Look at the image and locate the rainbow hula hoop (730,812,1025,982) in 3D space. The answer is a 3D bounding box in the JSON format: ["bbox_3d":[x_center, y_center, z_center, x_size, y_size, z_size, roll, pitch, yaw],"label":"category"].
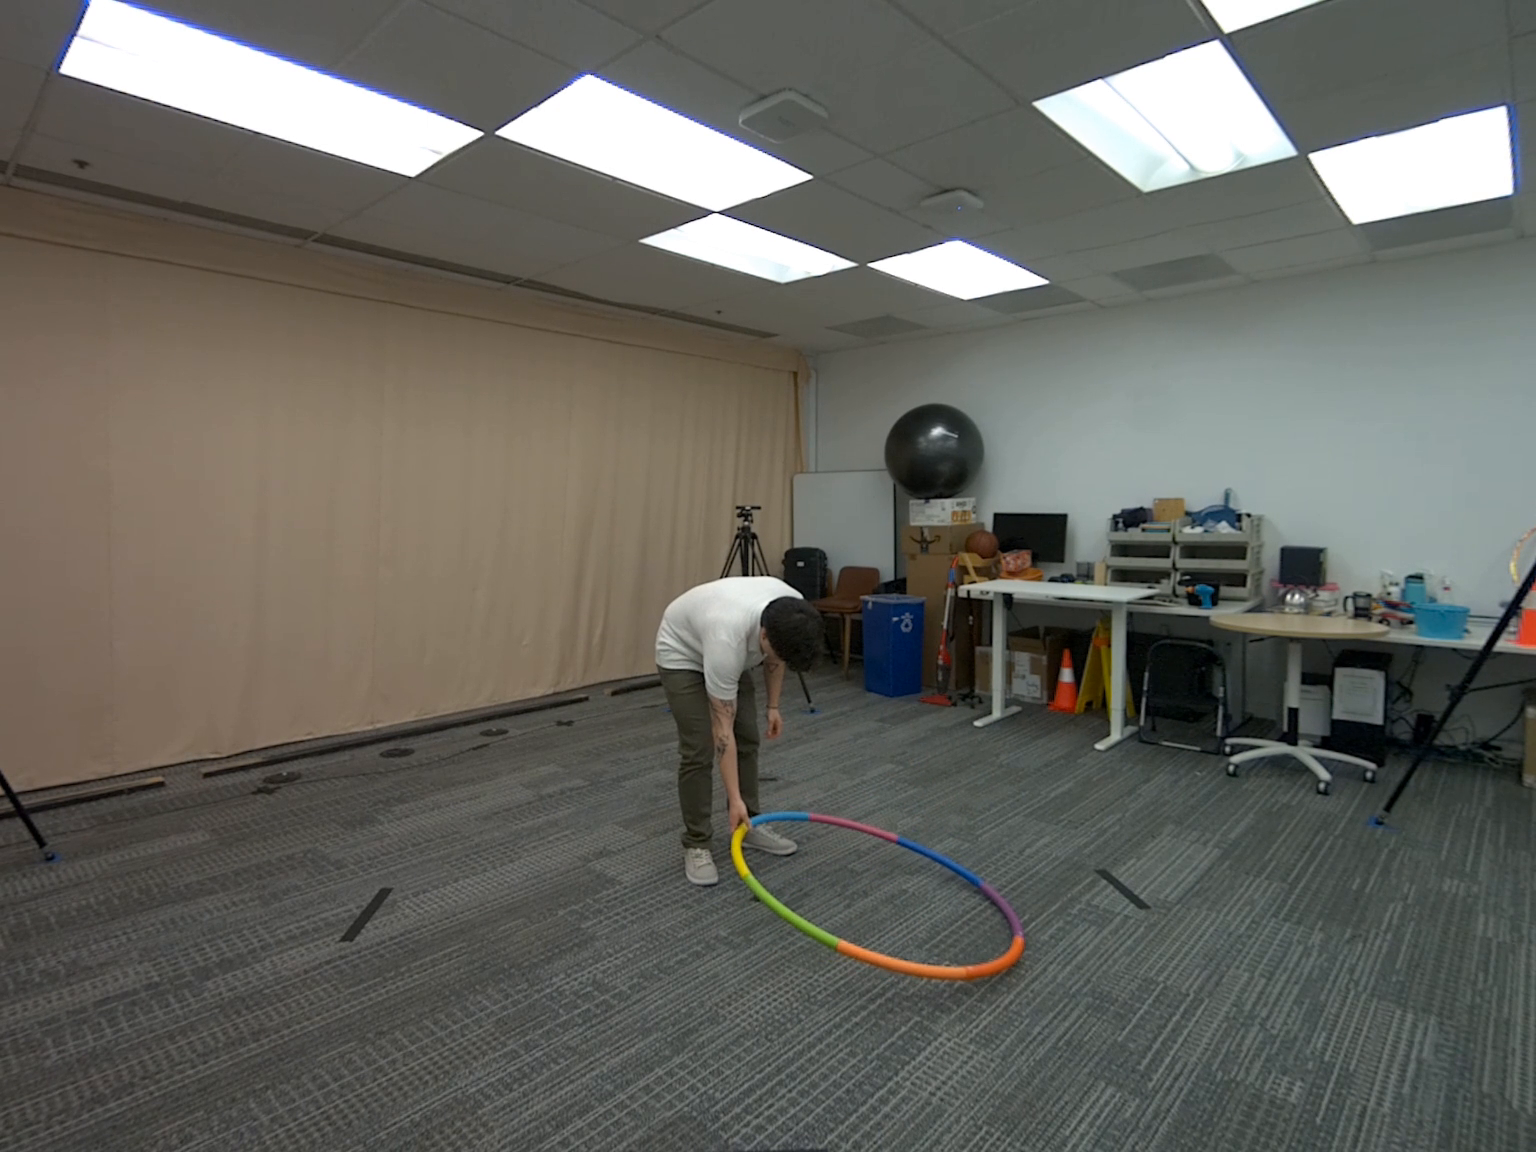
[{"bbox_3d":[0.363,1.032,2.831,0.976,0.035,0.984,12,7,-3],"label":"rainbow hula hoop"}]
